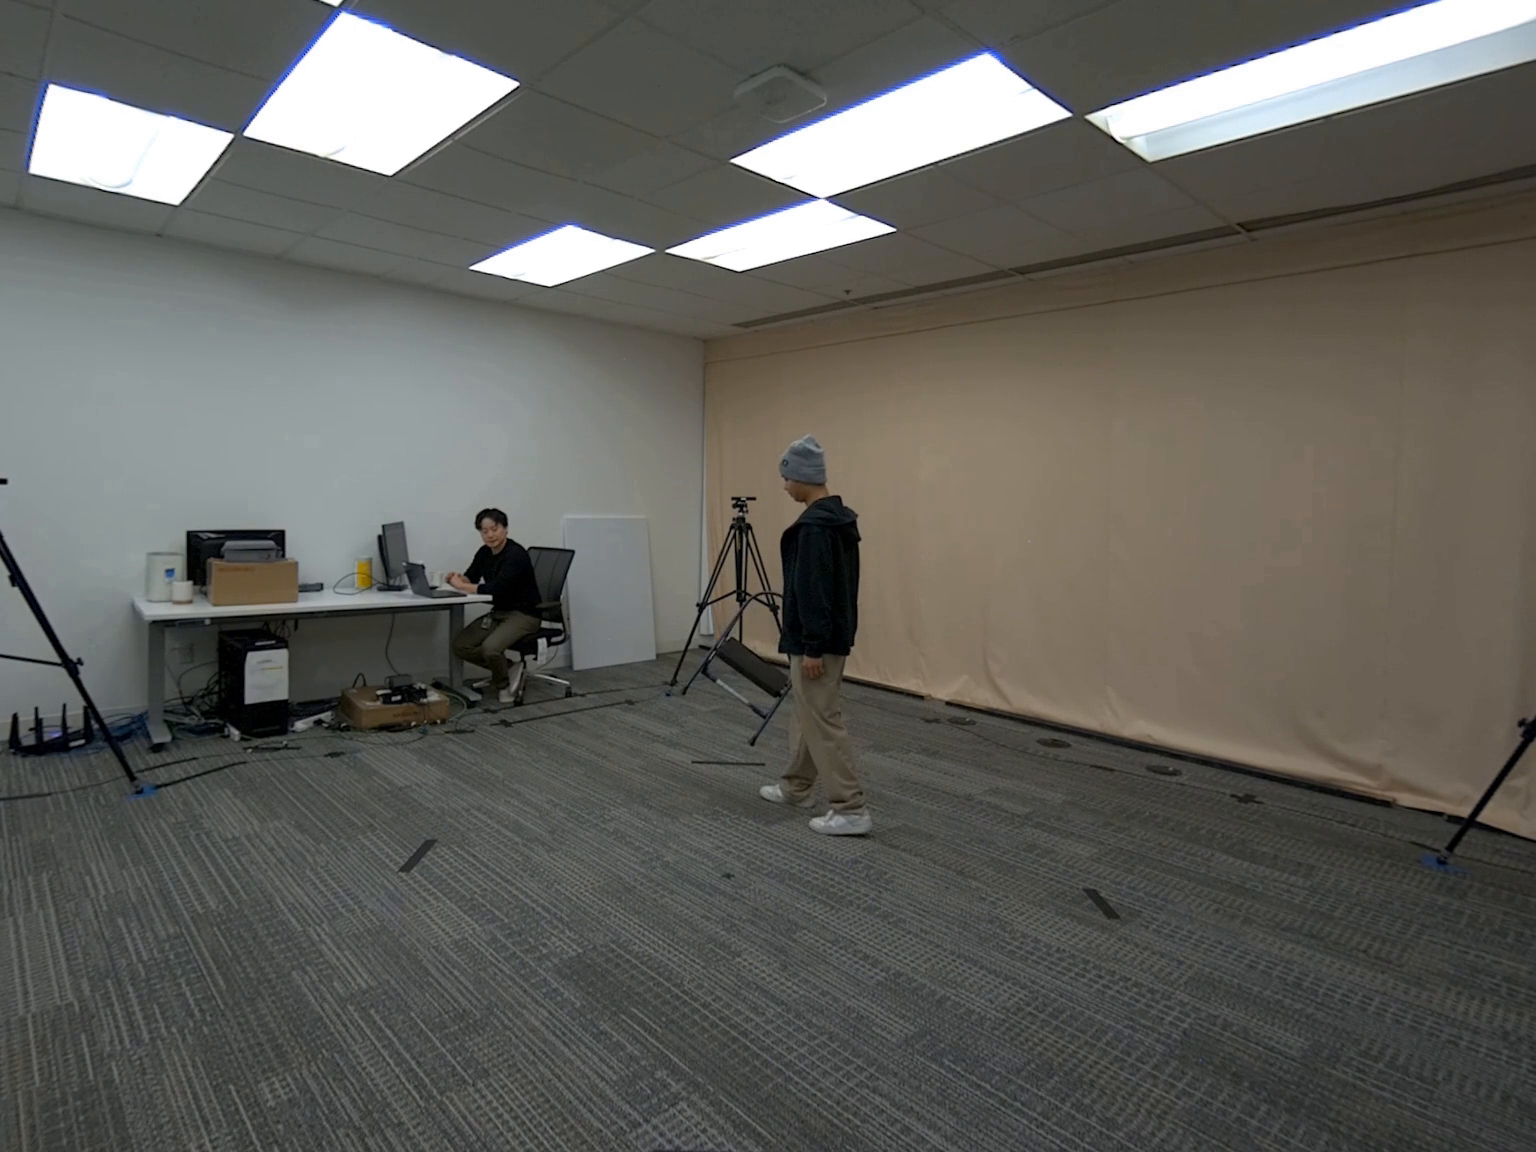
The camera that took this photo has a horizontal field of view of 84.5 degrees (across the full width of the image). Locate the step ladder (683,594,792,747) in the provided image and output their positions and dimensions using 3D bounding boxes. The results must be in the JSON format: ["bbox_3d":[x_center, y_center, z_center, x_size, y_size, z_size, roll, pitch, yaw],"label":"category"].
[{"bbox_3d":[-0.075,0.401,4.018,0.434,0.604,0.348,34,17,6],"label":"step ladder"}]
